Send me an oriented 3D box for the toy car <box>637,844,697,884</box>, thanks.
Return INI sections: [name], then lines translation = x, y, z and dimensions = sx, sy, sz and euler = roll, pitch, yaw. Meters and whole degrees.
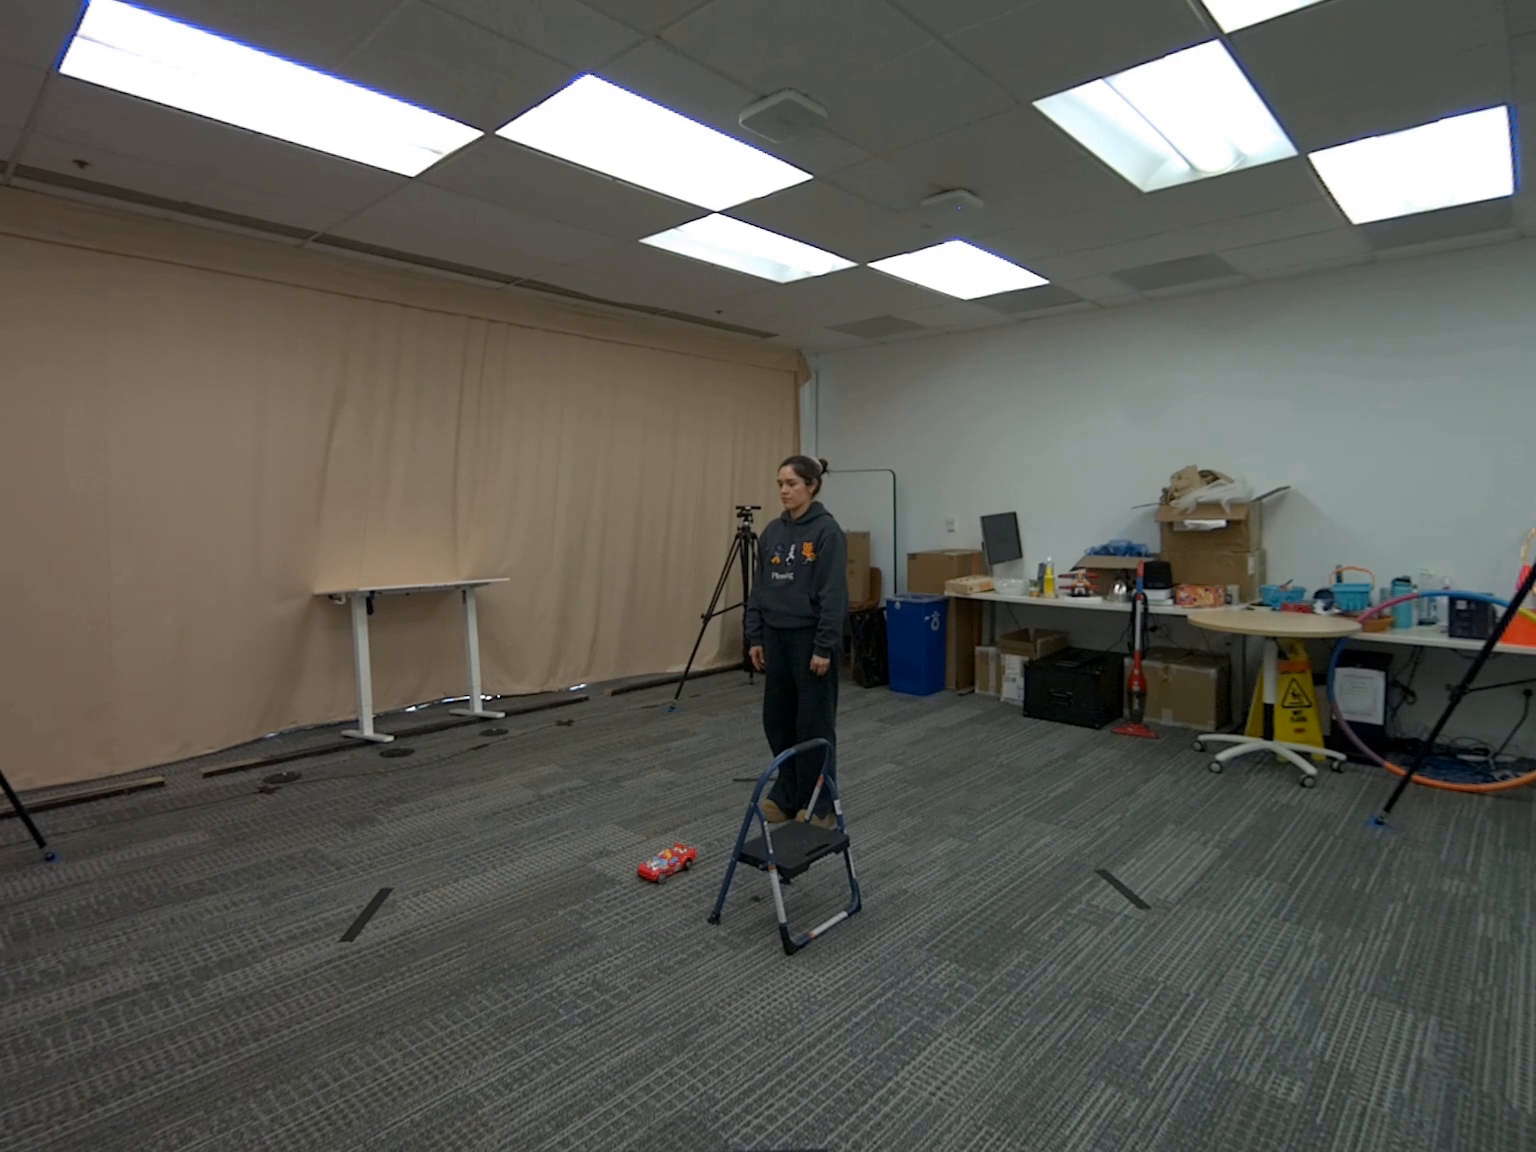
[toy car]
translation = -0.358, 1.099, 3.215
dimensions = 0.134, 0.082, 0.249
euler = 2, 16, 40
